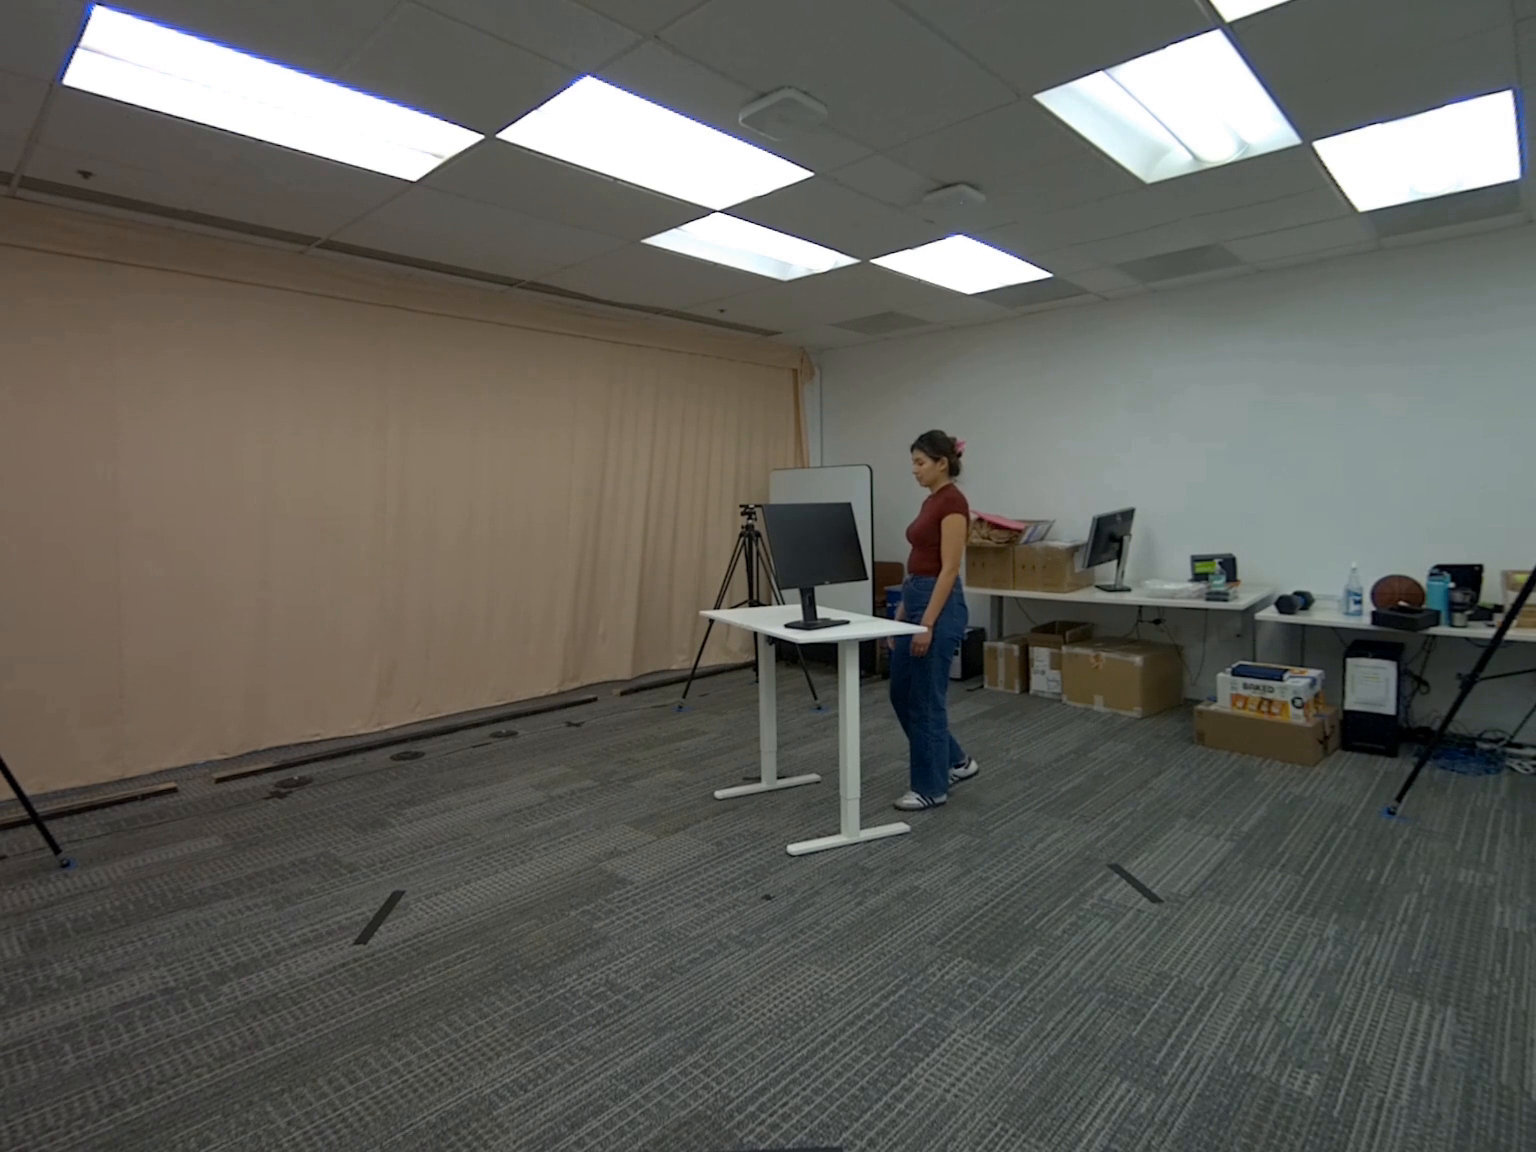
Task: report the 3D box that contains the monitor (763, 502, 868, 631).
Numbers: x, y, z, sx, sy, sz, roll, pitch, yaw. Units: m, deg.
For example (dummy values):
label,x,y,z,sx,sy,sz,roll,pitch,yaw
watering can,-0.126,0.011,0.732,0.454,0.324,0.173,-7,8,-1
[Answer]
label,x,y,z,sx,sy,sz,roll,pitch,yaw
monitor,0.196,-0.043,3.537,0.523,0.522,0.193,-4,2,-43
